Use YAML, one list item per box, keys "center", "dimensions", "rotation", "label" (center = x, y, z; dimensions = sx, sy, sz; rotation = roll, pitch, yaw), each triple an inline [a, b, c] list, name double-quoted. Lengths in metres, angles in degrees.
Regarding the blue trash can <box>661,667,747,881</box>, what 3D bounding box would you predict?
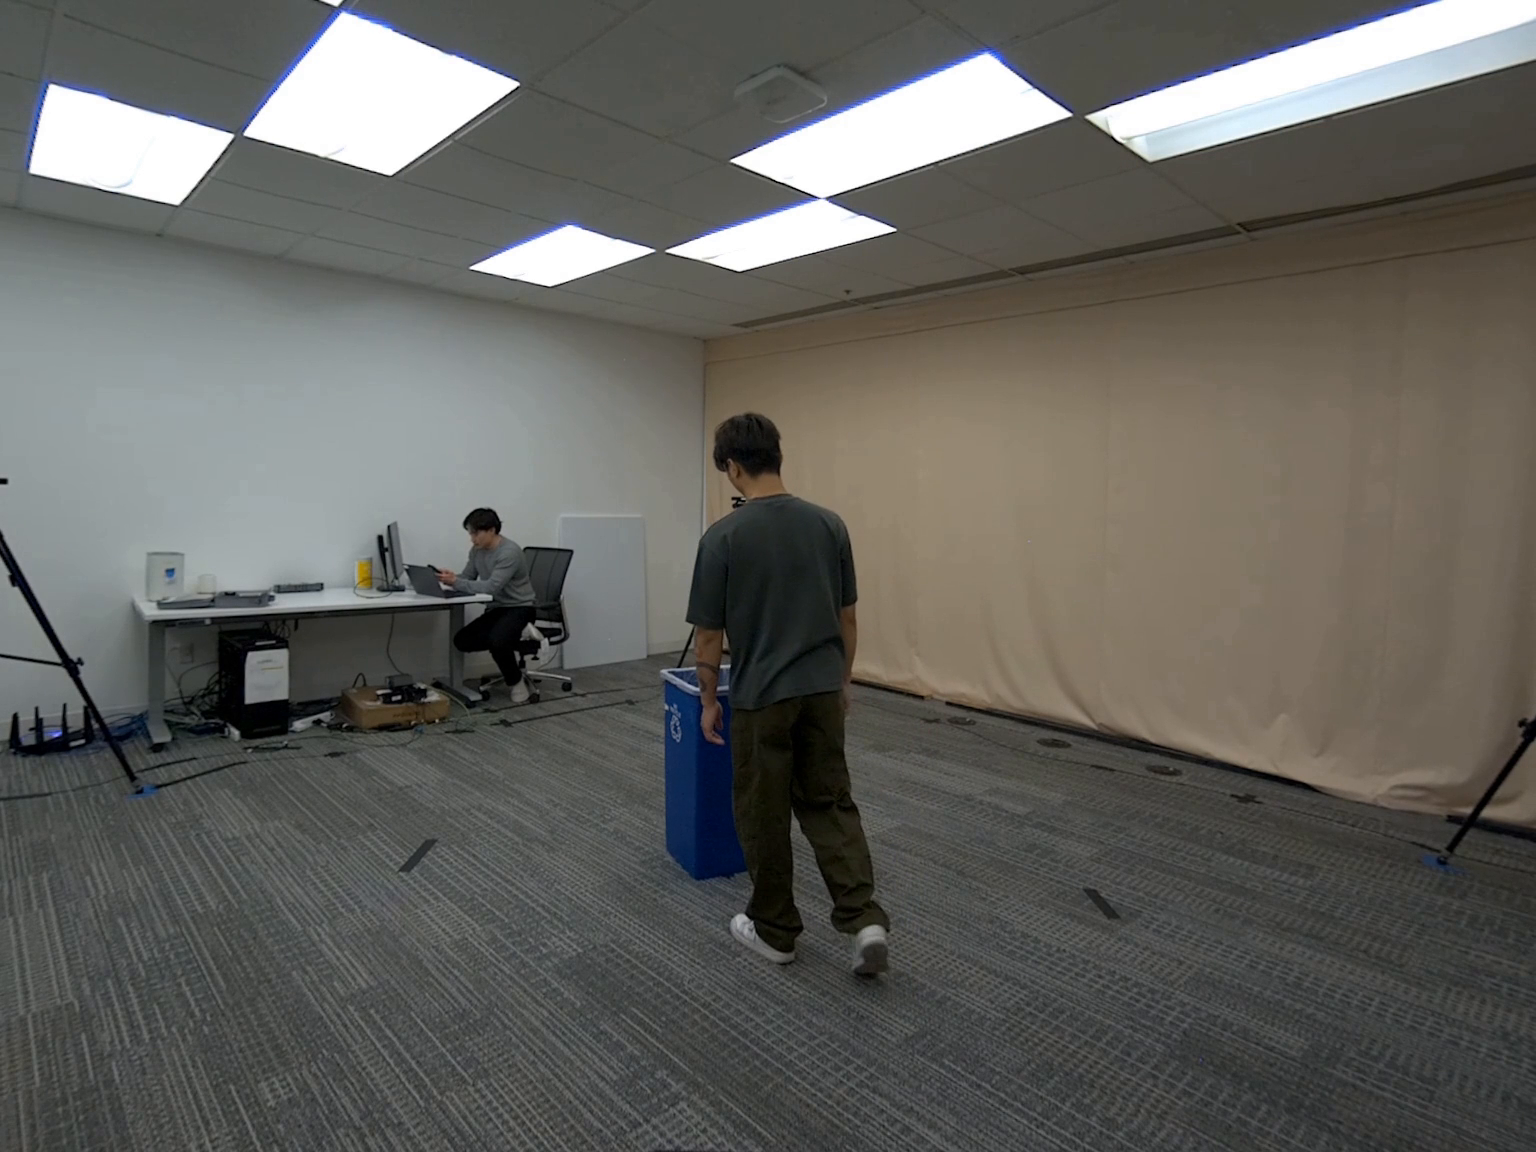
- center: [-0.201, 0.736, 3.226]
  dimensions: [0.367, 0.712, 0.386]
  rotation: [0, 4, -28]
  label: "blue trash can"
